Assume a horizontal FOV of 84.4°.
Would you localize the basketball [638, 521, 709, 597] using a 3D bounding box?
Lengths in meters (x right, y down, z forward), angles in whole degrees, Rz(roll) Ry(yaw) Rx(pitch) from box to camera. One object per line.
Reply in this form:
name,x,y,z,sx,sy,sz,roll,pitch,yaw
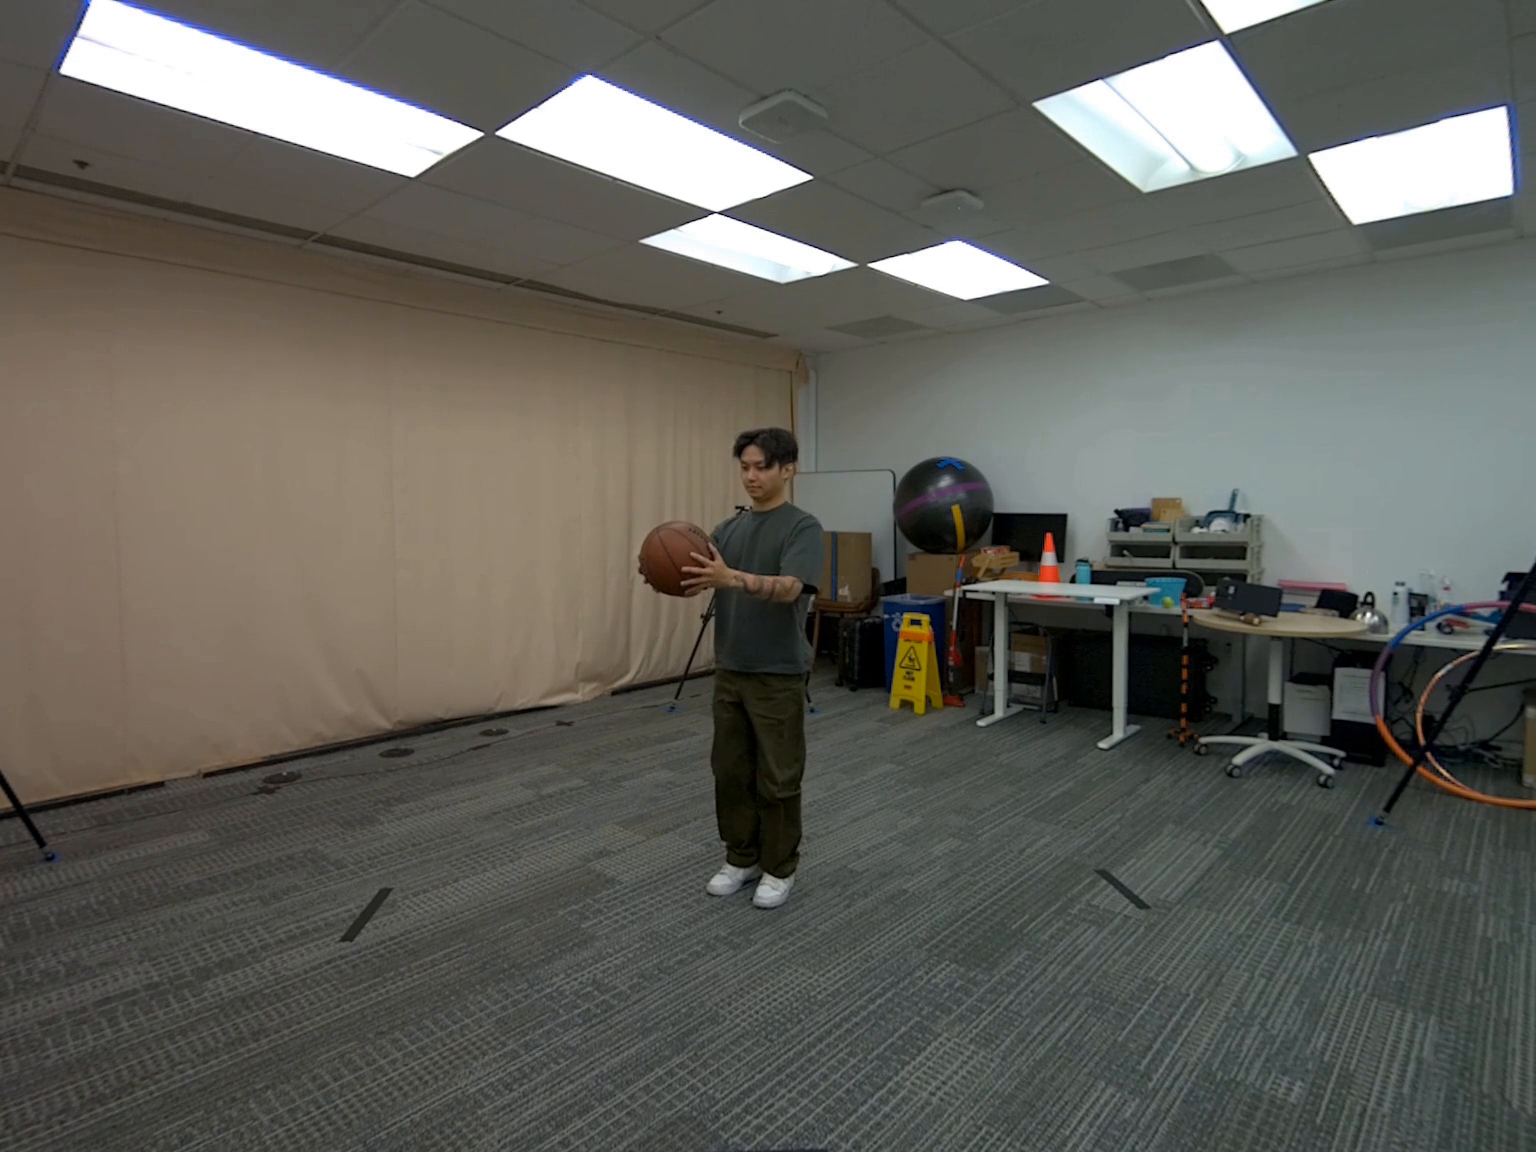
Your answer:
basketball,-0.288,-0.053,2.673,0.236,0.235,0.237,0,4,-2
